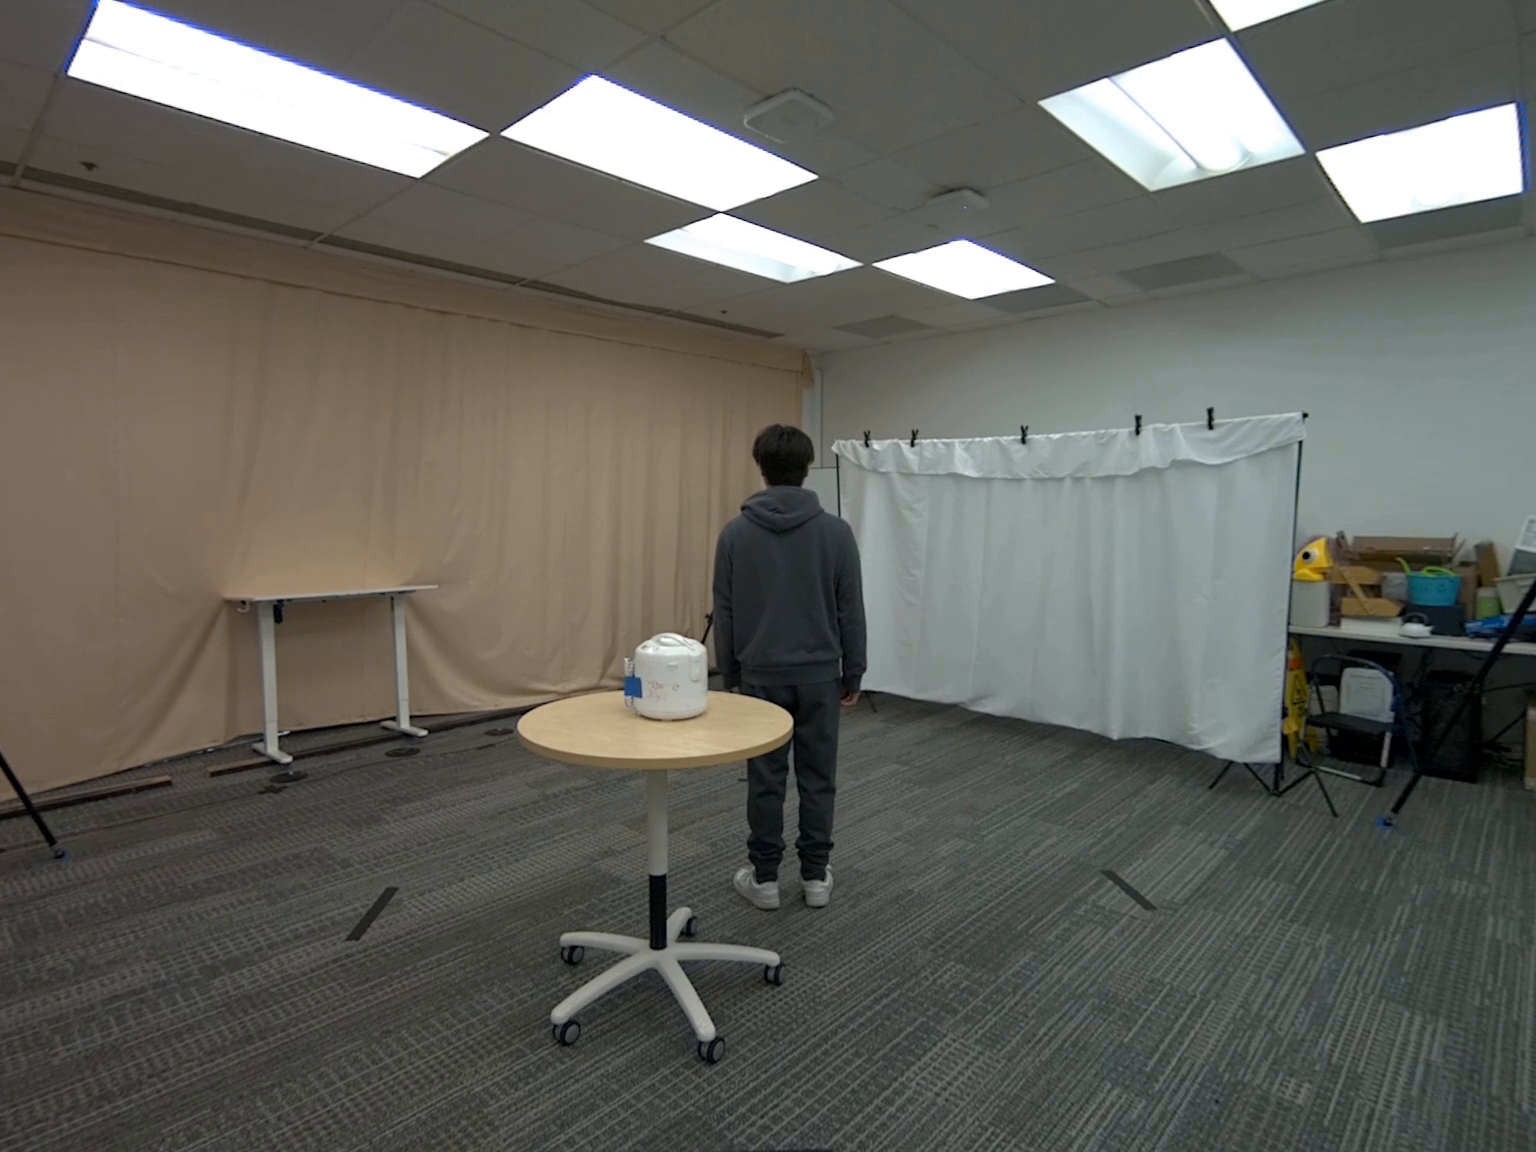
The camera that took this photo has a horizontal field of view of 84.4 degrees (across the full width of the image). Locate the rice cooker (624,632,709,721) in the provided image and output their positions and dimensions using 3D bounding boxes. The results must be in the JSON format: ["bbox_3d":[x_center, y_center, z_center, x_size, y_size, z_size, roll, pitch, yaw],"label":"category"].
[{"bbox_3d":[-0.279,0.281,2.416,0.228,0.232,0.211,3,5,43],"label":"rice cooker"}]
